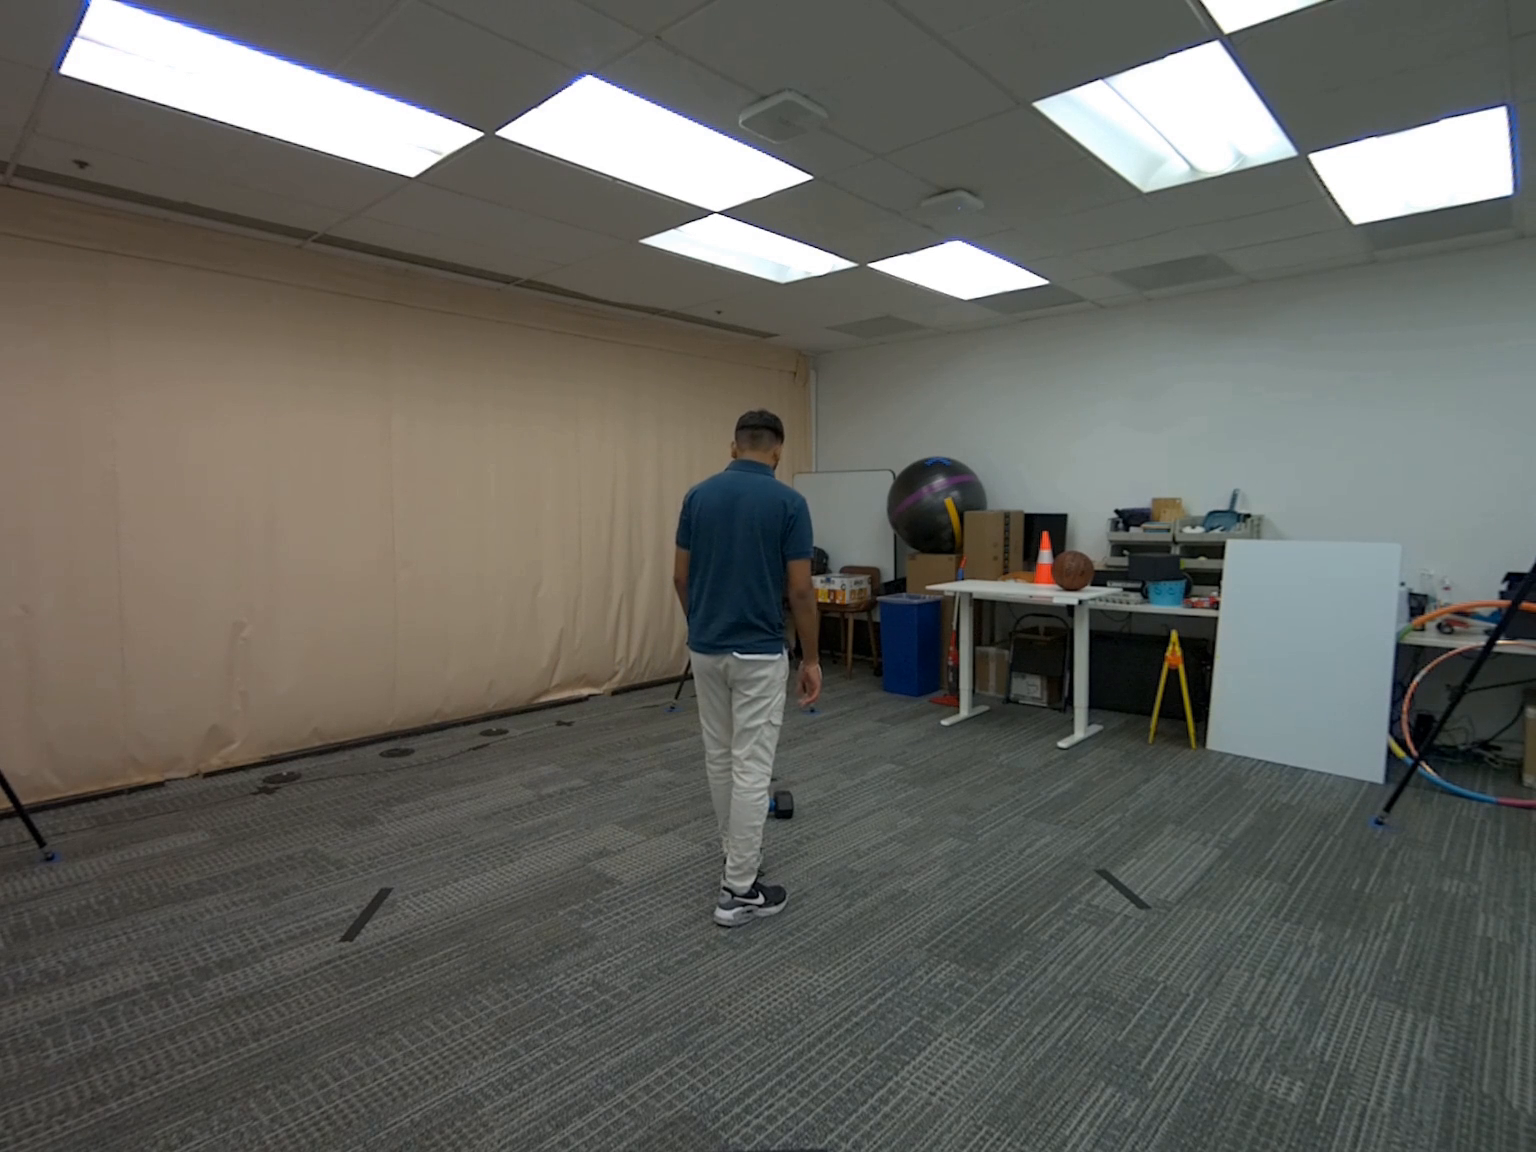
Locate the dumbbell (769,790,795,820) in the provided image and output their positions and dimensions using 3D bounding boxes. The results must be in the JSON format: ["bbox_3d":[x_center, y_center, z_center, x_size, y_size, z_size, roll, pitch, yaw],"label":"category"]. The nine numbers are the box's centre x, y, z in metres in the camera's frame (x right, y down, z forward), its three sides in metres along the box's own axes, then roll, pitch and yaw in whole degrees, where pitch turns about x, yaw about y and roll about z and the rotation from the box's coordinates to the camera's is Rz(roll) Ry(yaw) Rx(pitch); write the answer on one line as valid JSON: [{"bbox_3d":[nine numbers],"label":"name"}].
[{"bbox_3d":[-0.038,1.026,3.767,0.292,0.108,0.124,-1,2,-5],"label":"dumbbell"}]
